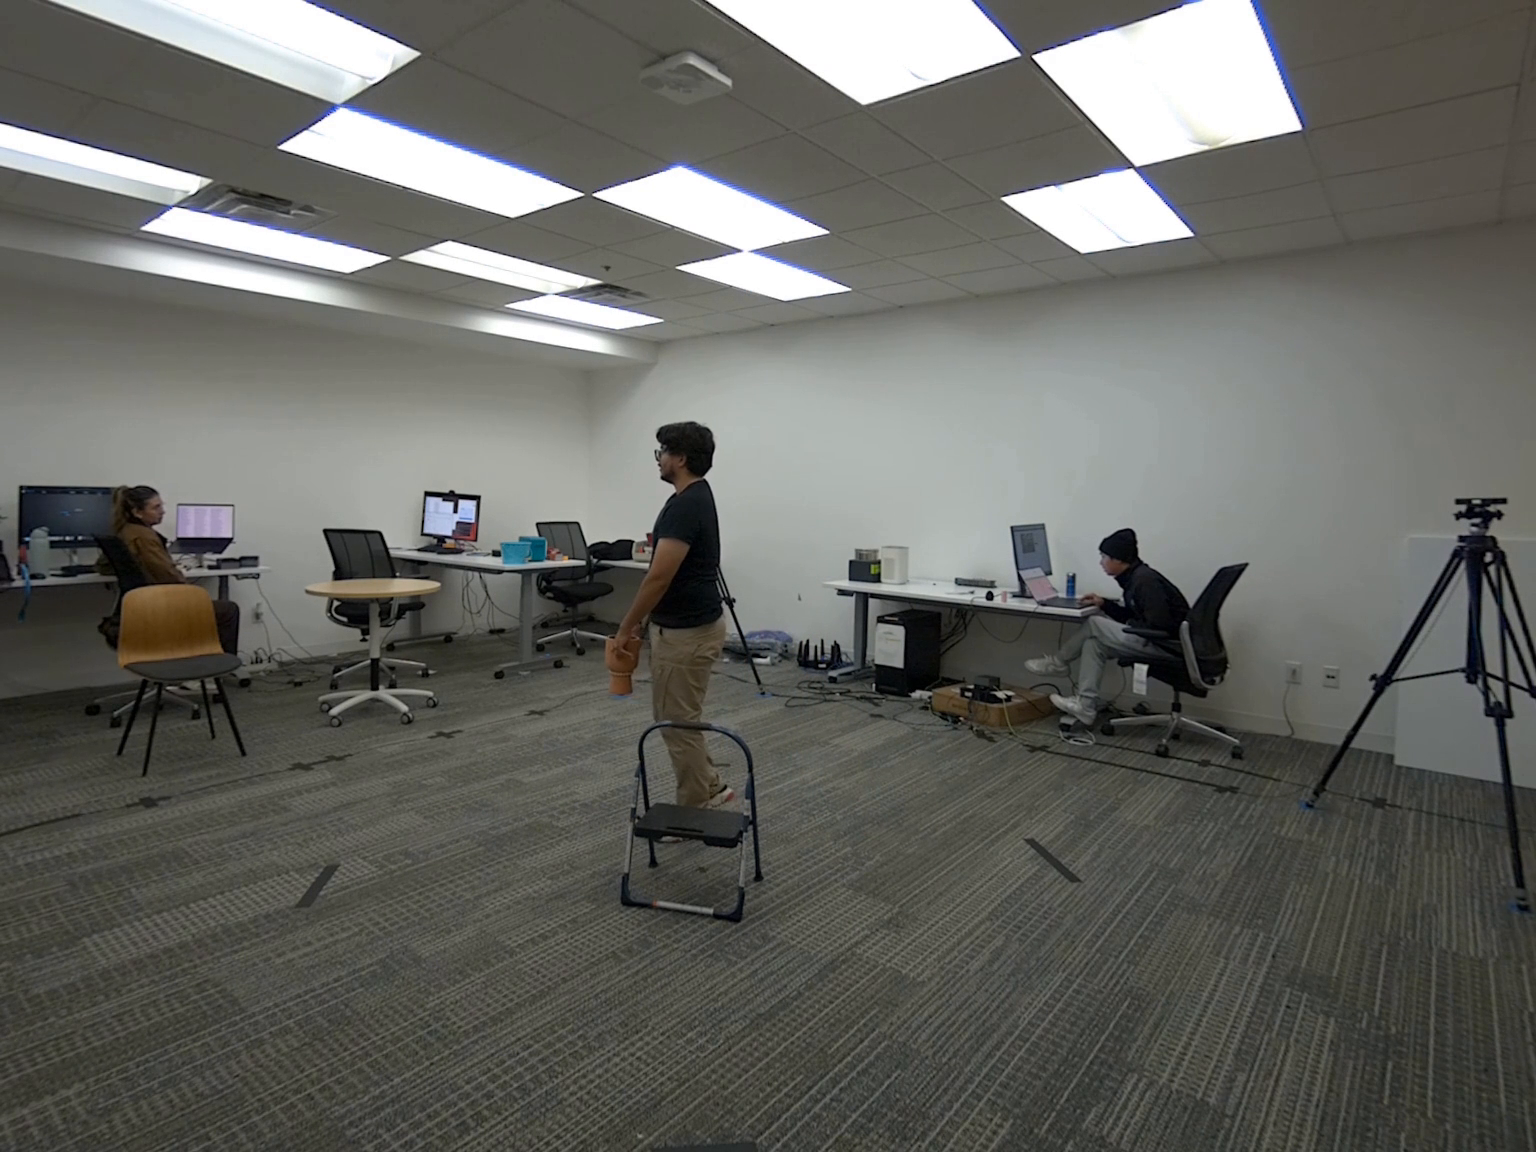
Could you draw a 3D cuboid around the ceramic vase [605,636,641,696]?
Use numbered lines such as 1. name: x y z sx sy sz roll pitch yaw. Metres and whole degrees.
1. ceramic vase: -0.599 0.352 3.416 0.139 0.219 0.154 8 8 43
